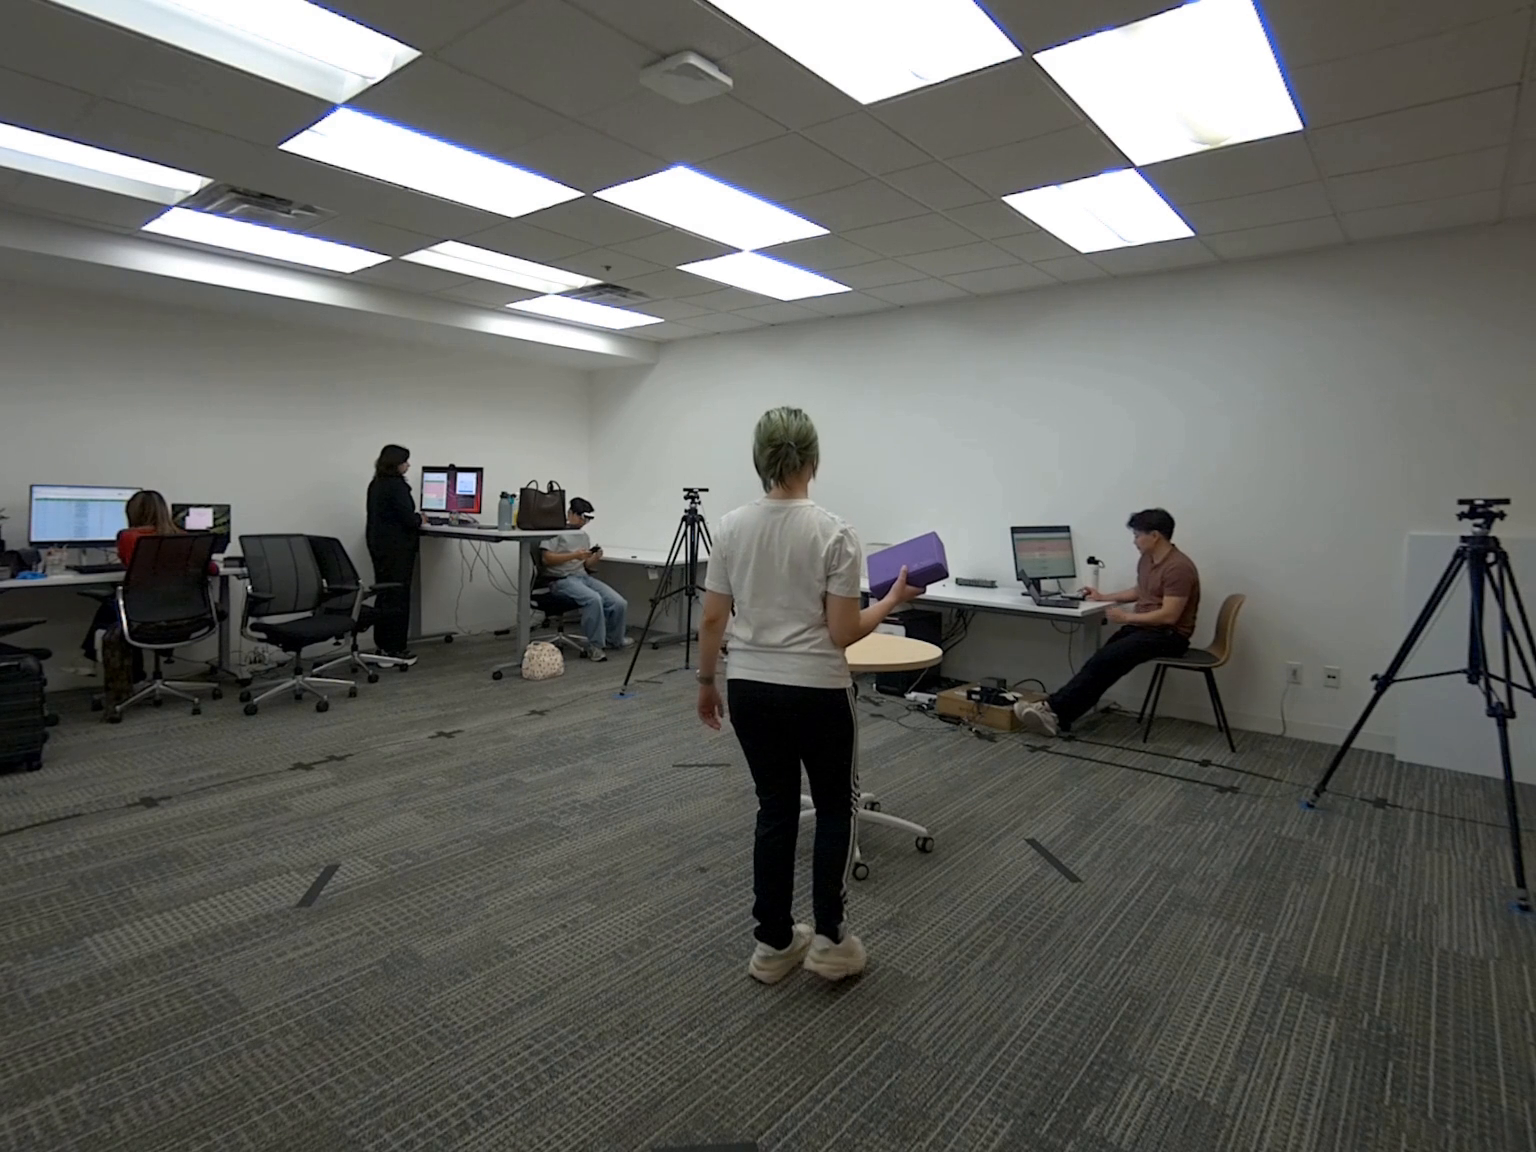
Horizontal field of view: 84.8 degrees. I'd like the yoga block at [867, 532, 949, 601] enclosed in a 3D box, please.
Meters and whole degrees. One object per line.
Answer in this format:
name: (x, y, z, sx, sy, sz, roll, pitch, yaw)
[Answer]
yoga block: (0.416, -0.031, 2.571, 0.232, 0.153, 0.073, -21, -51, 24)
